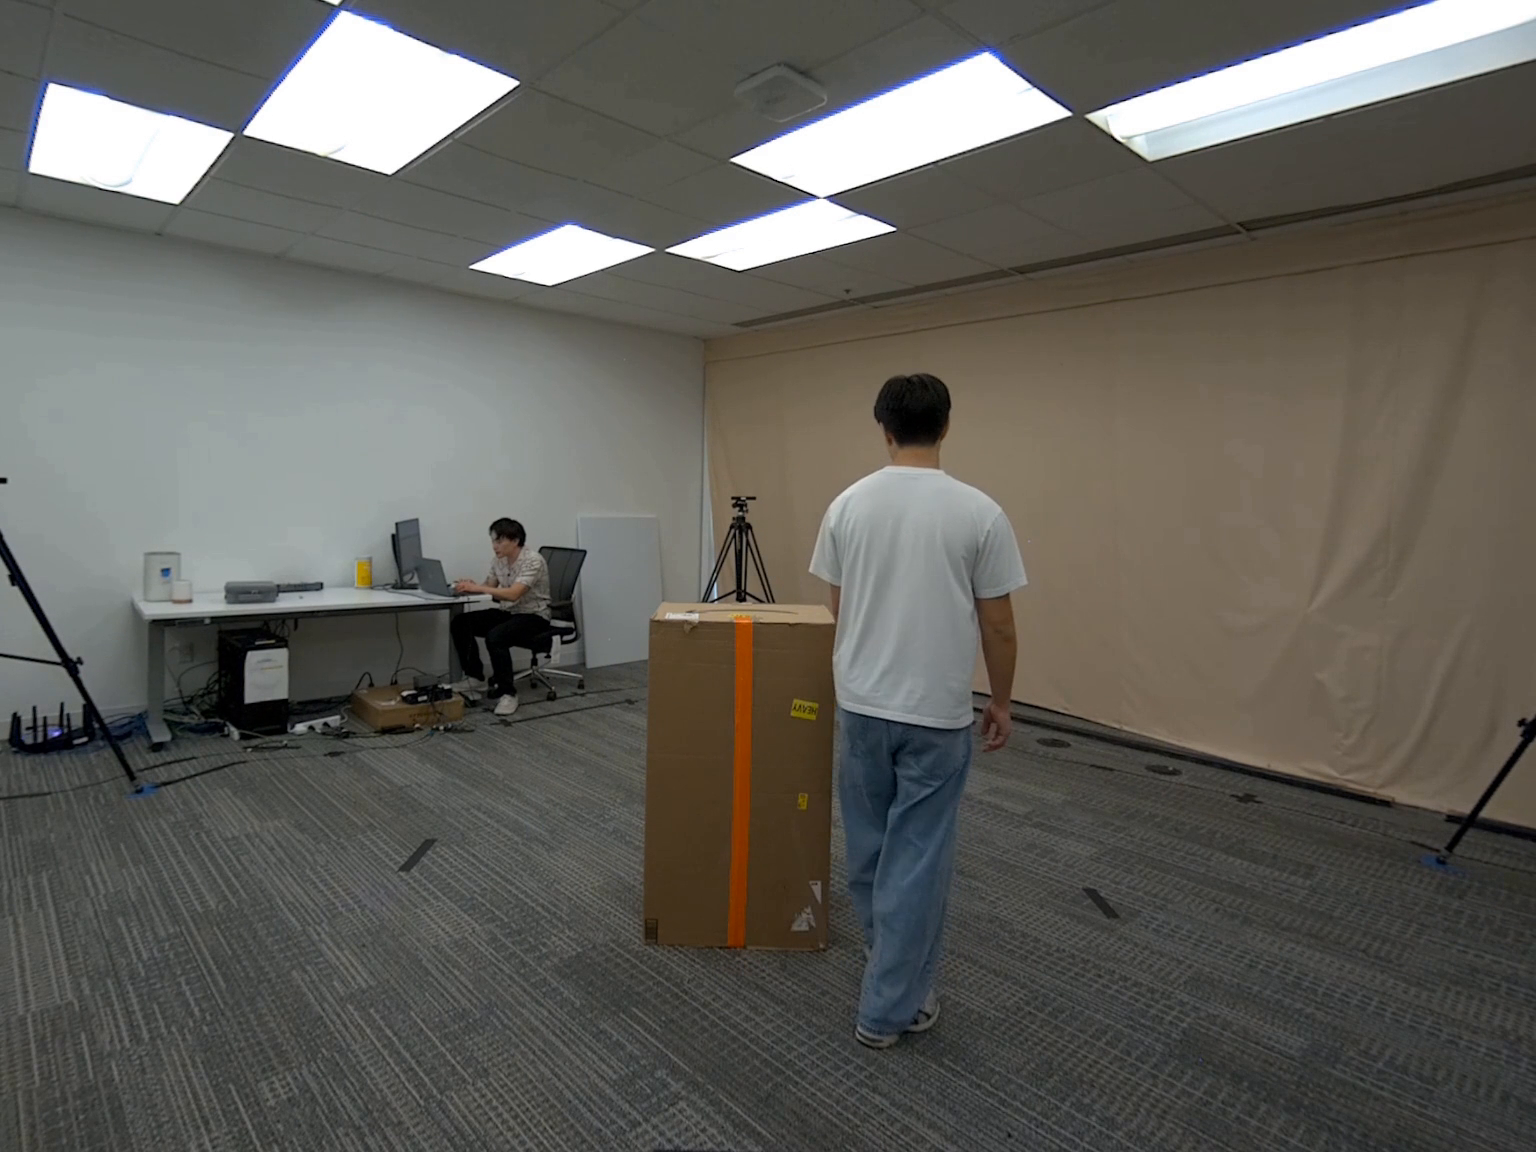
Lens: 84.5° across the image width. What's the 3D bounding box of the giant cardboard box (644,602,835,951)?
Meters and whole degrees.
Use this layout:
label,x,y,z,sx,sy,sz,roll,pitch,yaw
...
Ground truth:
label,x,y,z,sx,sy,sz,roll,pitch,yaw
giant cardboard box,-0.103,0.627,2.786,0.578,1.023,0.427,2,3,0
